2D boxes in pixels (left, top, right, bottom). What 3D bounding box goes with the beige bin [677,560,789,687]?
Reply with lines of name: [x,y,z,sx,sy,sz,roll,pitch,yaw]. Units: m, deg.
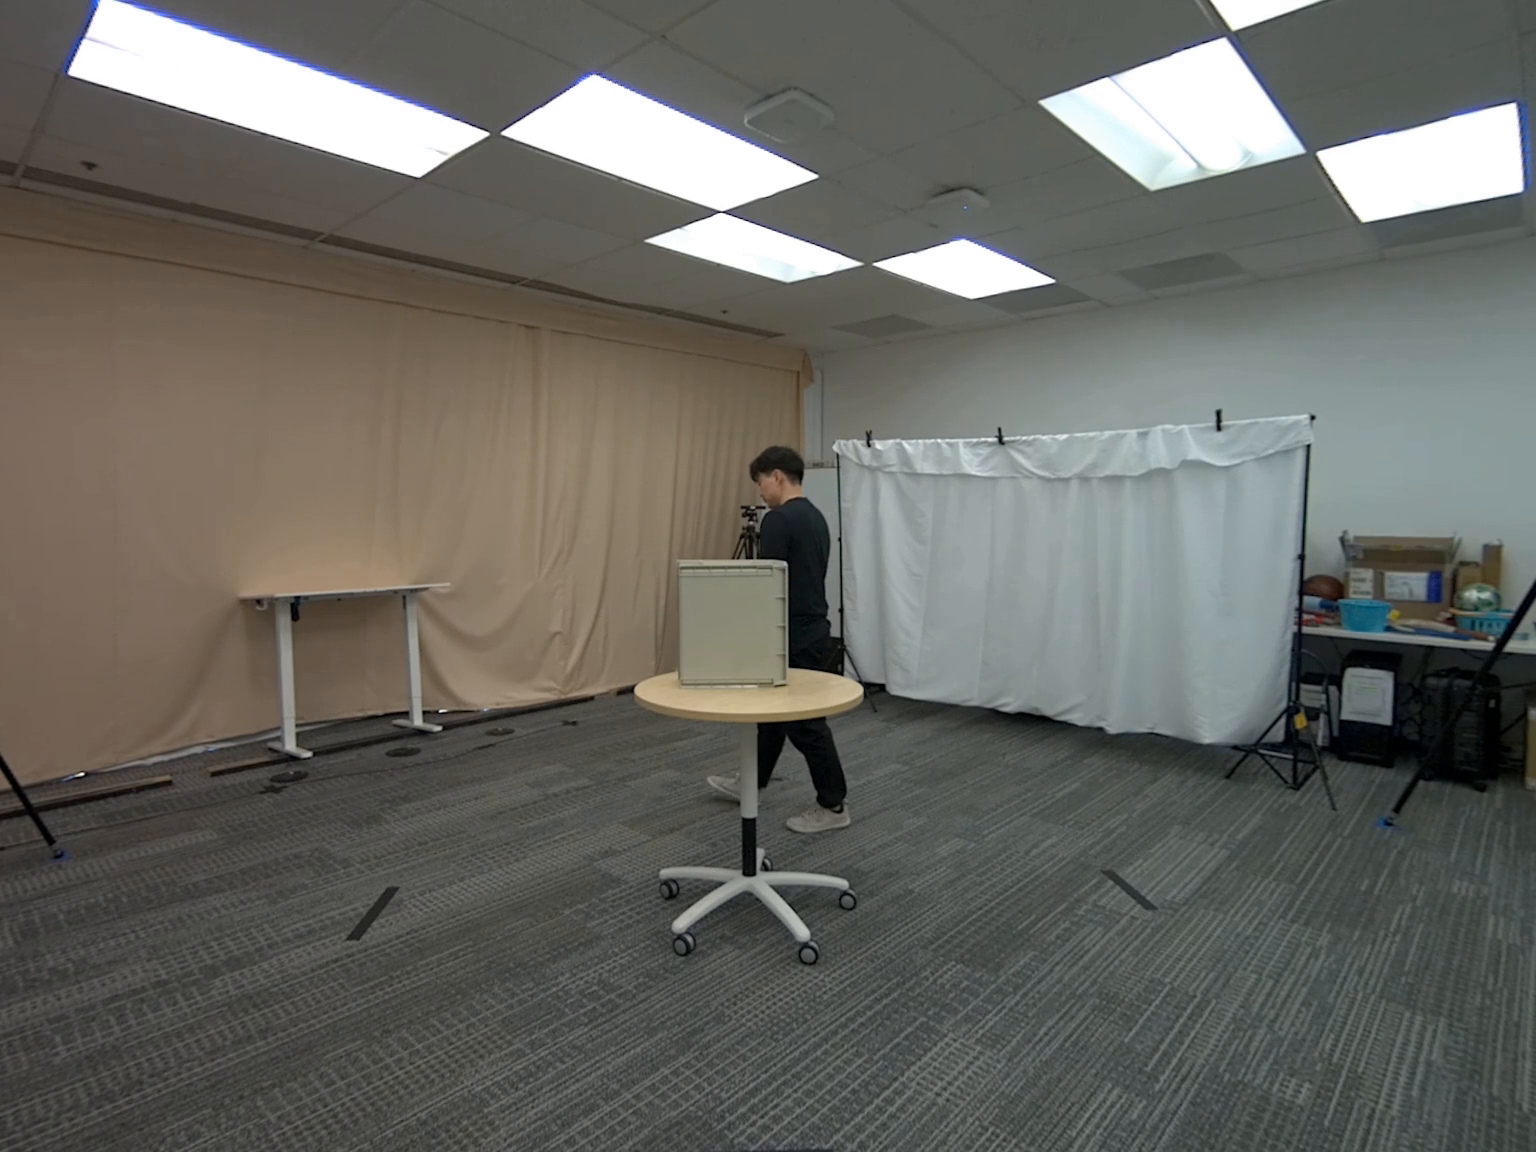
beige bin: [-0.126,0.160,2.893,0.379,0.421,0.189,0,6,3]
